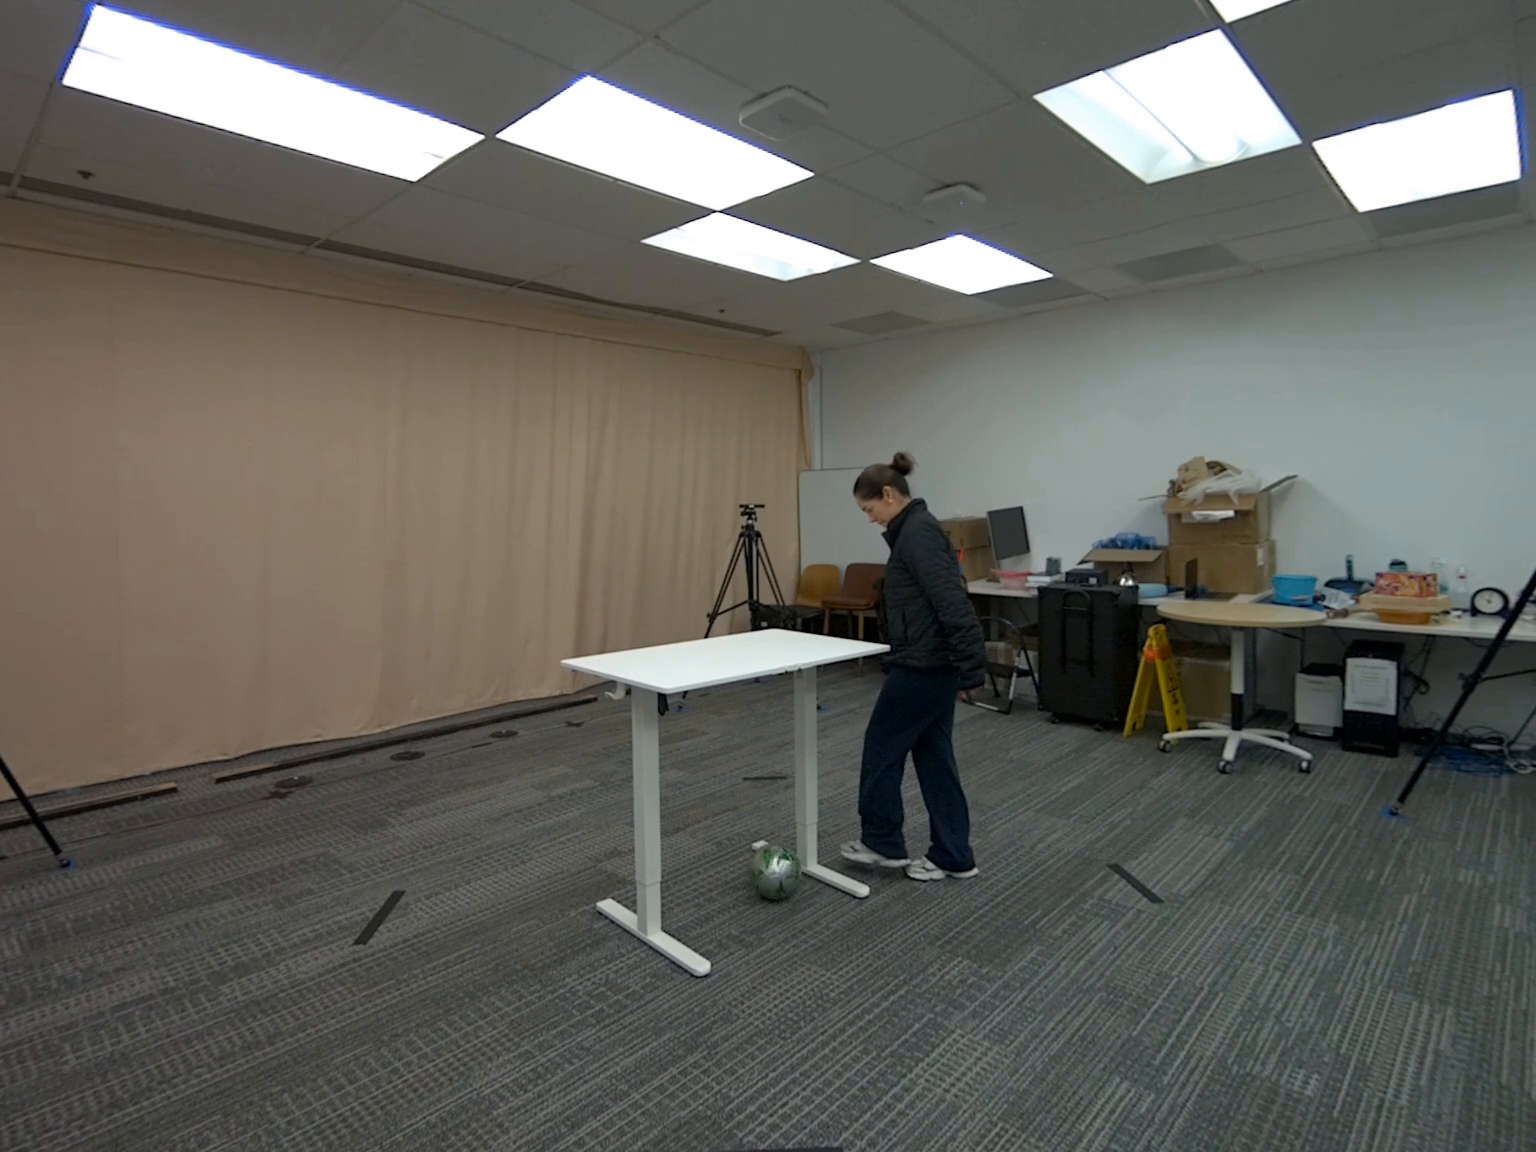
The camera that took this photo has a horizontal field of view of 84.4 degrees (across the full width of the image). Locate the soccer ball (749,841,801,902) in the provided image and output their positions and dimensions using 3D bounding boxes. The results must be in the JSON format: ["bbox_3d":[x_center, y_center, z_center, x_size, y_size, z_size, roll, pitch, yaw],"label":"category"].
[{"bbox_3d":[0.025,1.047,2.975,0.187,0.187,0.188,-1,4,-2],"label":"soccer ball"}]
